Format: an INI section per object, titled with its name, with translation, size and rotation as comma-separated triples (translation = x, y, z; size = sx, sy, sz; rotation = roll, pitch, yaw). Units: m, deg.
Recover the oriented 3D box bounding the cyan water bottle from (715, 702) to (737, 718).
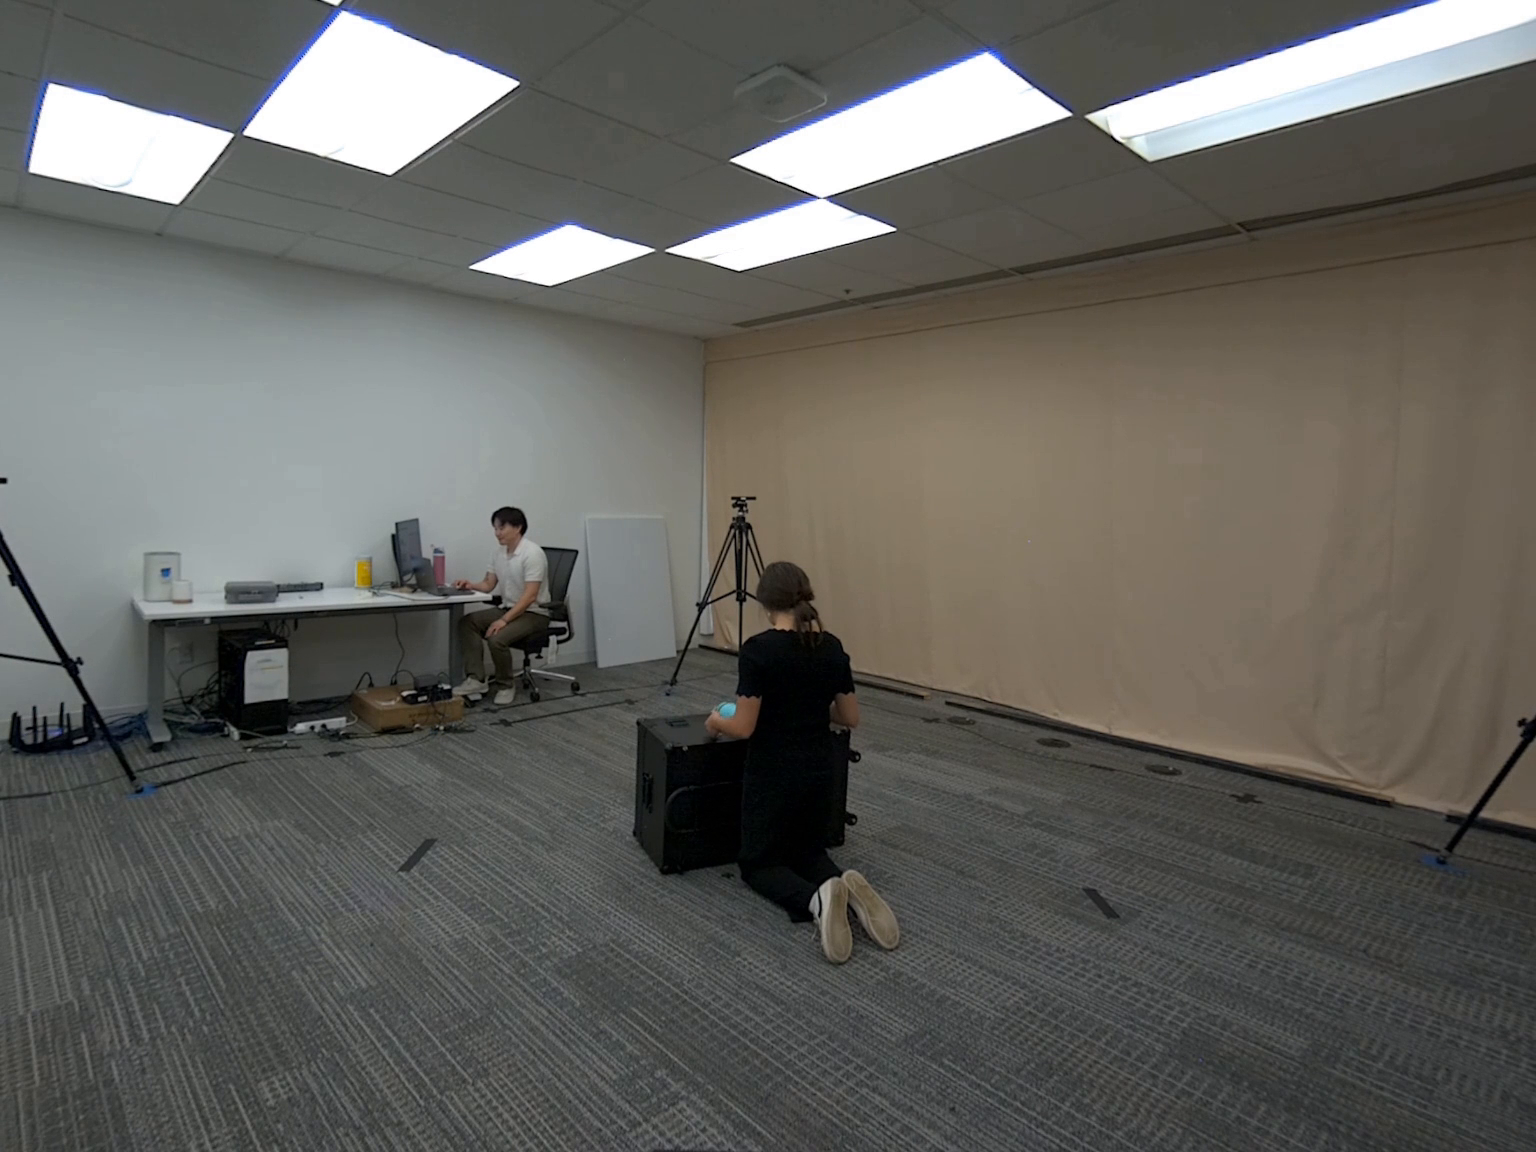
[cyan water bottle]
translation = -0.125, 0.557, 3.291
size = 0.090, 0.092, 0.290
rotation = -2, 6, -35
